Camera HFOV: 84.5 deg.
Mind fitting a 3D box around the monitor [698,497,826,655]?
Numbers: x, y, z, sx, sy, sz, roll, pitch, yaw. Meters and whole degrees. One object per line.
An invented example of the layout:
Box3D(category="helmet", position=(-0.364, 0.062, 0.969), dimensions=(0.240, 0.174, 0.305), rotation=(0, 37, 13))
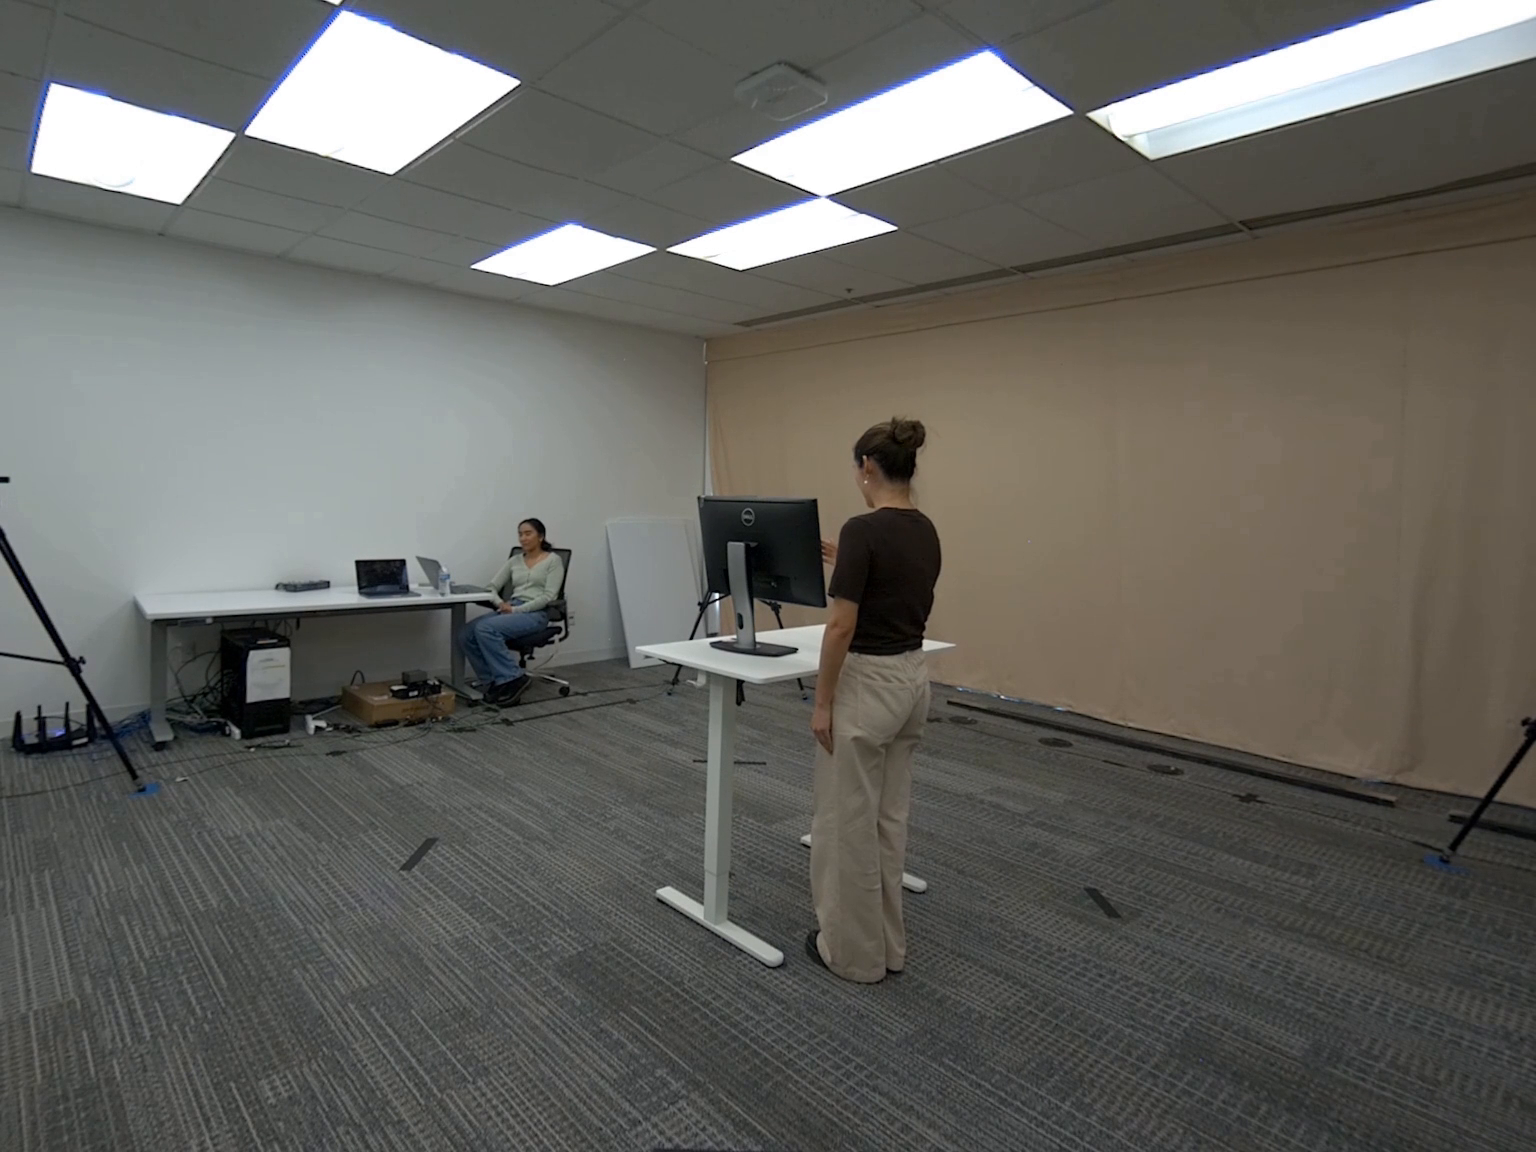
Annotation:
Box3D(category="monitor", position=(-0.055, -0.002, 2.799), dimensions=(0.182, 0.522, 0.553), rotation=(0, 4, -45))
